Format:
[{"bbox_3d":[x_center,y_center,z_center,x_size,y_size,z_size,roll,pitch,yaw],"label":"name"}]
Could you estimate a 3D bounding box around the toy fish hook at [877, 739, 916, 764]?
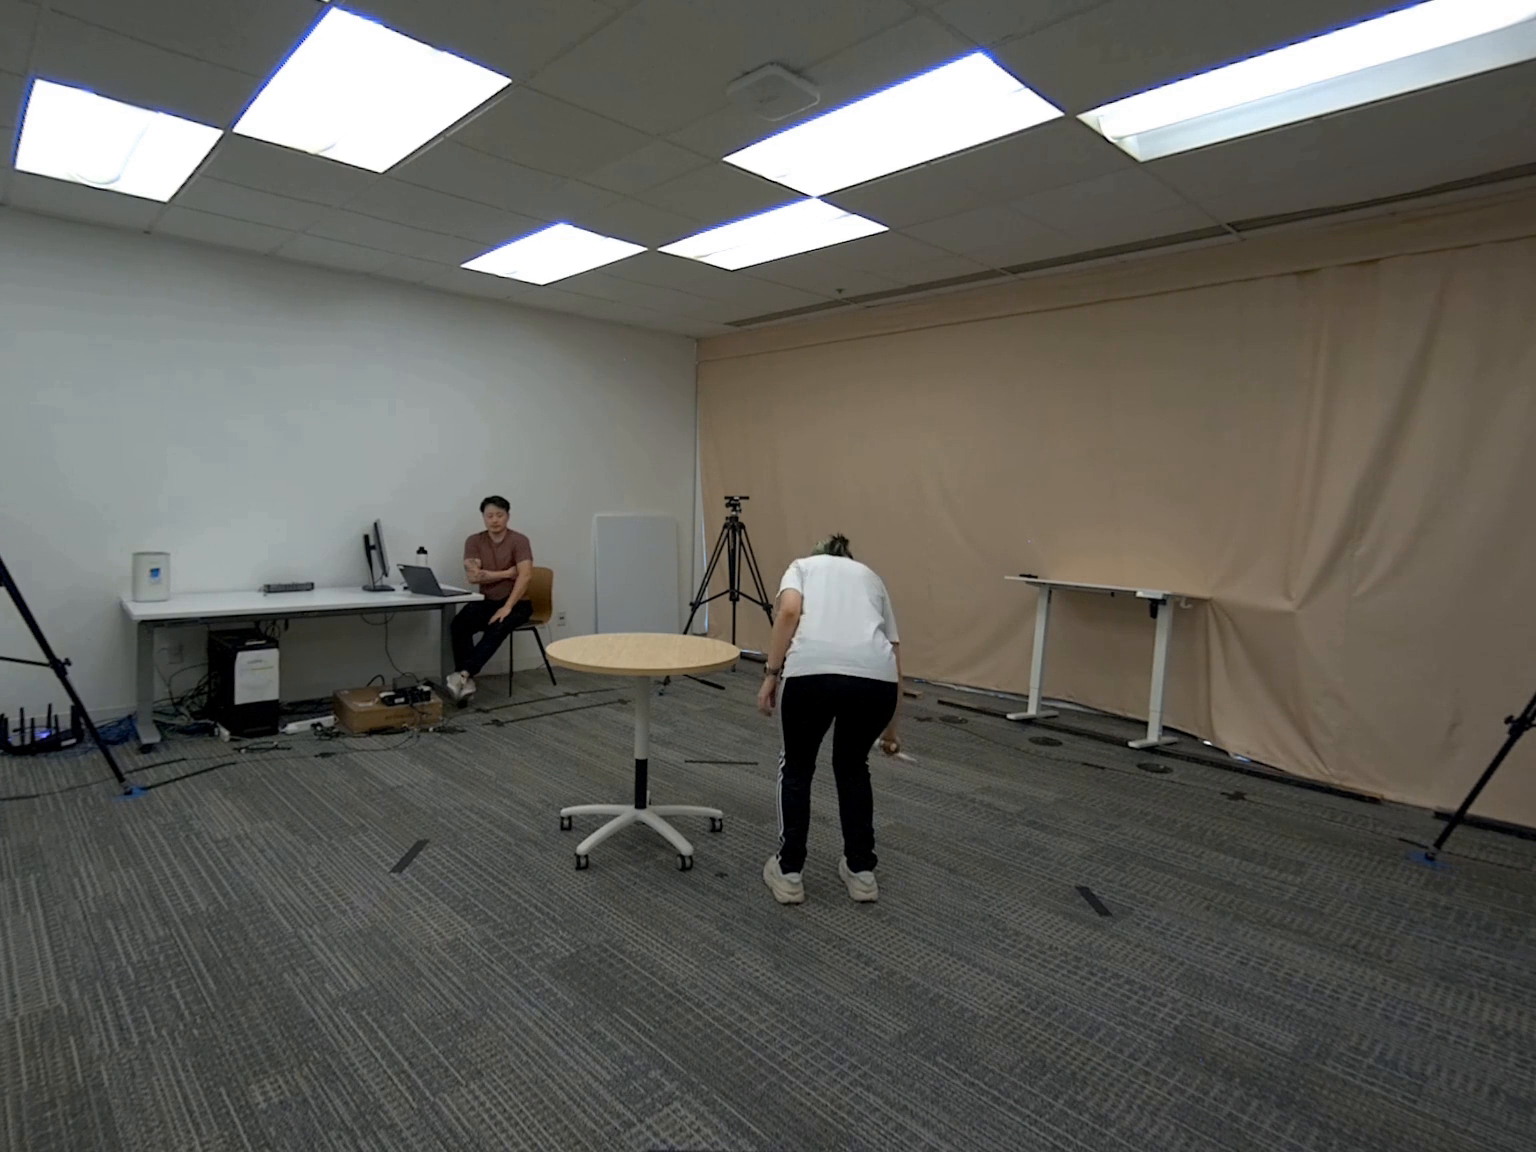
[{"bbox_3d":[0.486,0.681,3.289,0.225,0.048,0.504,22,-7,0],"label":"toy fish hook"}]
